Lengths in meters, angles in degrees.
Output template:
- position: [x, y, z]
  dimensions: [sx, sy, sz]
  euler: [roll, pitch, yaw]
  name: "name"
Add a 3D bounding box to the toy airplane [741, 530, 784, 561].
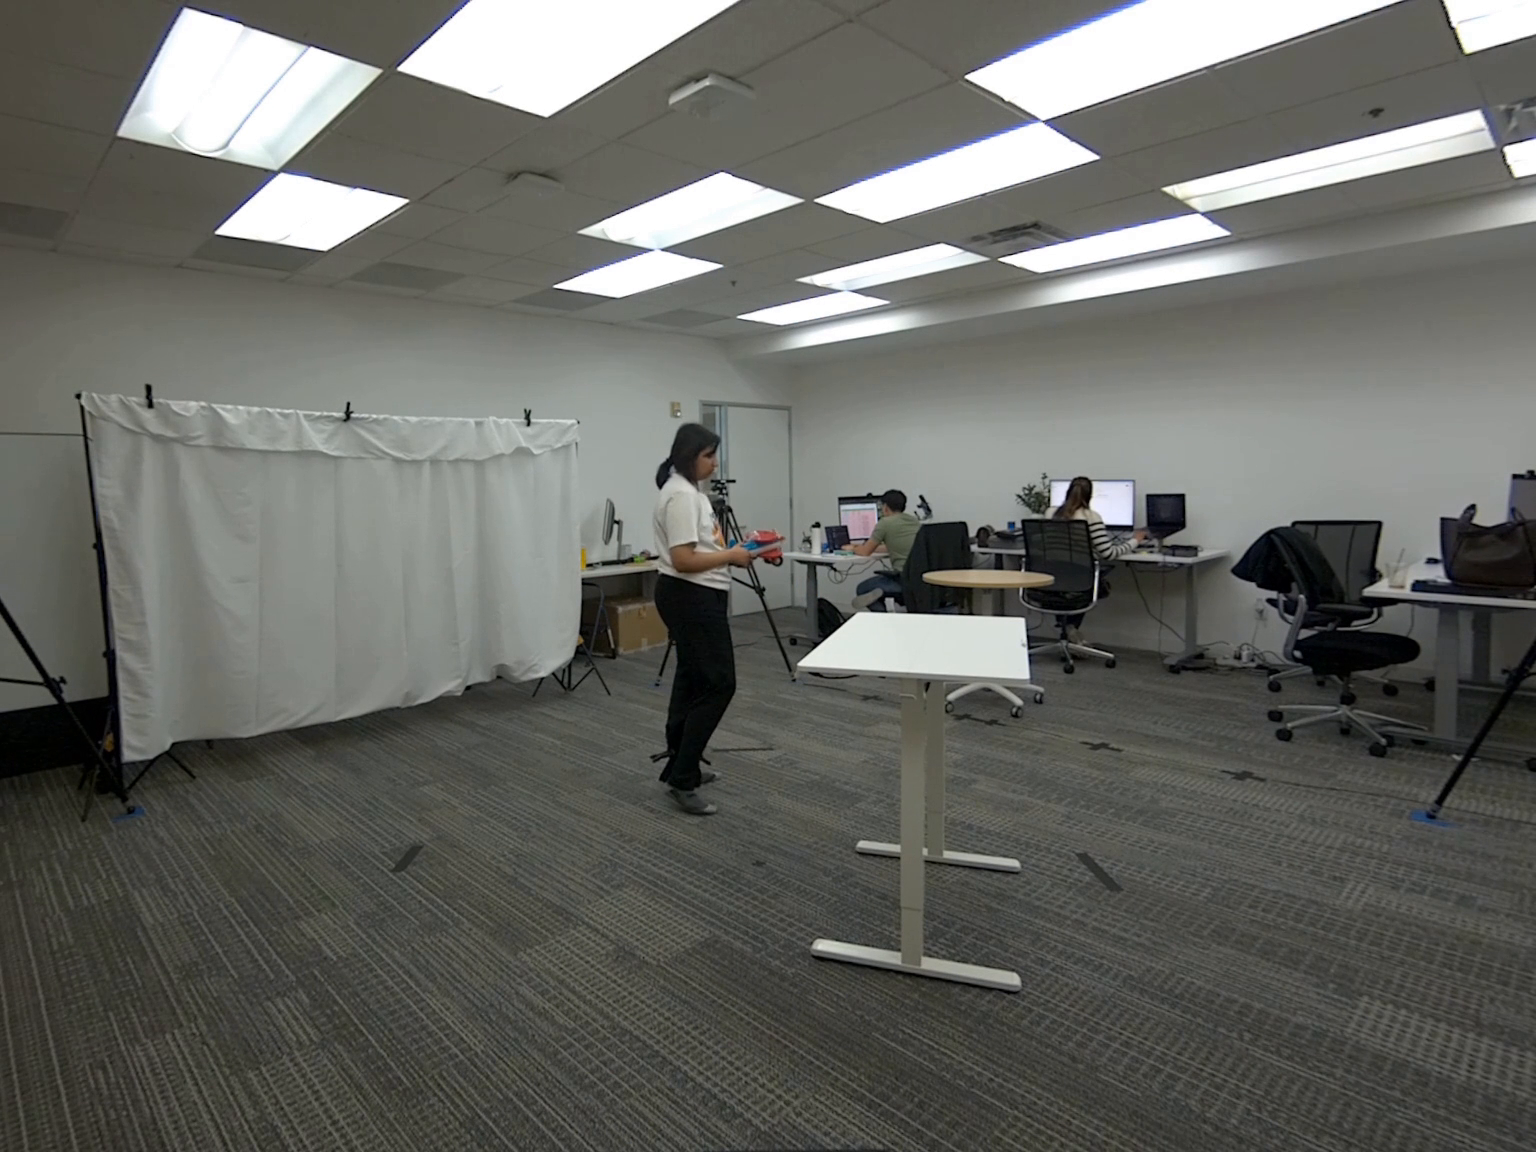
- position: [-0.050, -0.118, 3.869]
  dimensions: [0.259, 0.155, 0.253]
  euler: [6, 10, 38]
  name: "toy airplane"
